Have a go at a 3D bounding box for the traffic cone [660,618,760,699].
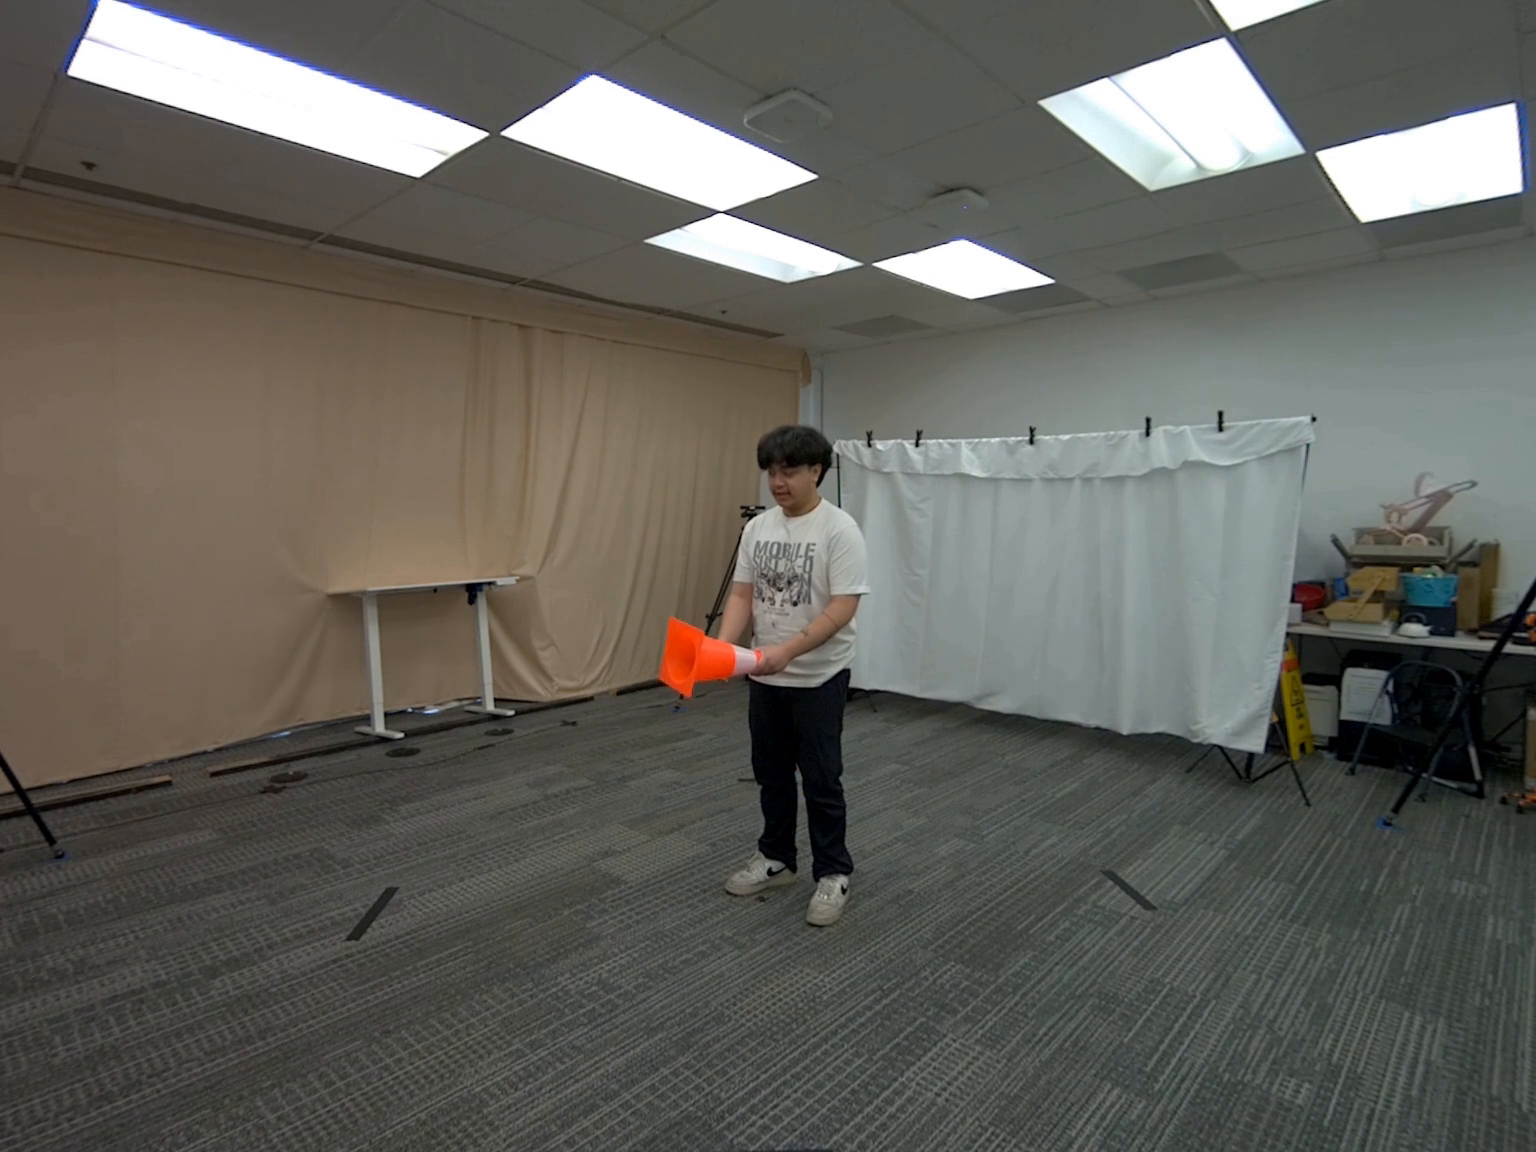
[{"bbox_3d":[-0.106,0.266,2.601,0.372,0.203,0.212,9,4,-33],"label":"traffic cone"}]
